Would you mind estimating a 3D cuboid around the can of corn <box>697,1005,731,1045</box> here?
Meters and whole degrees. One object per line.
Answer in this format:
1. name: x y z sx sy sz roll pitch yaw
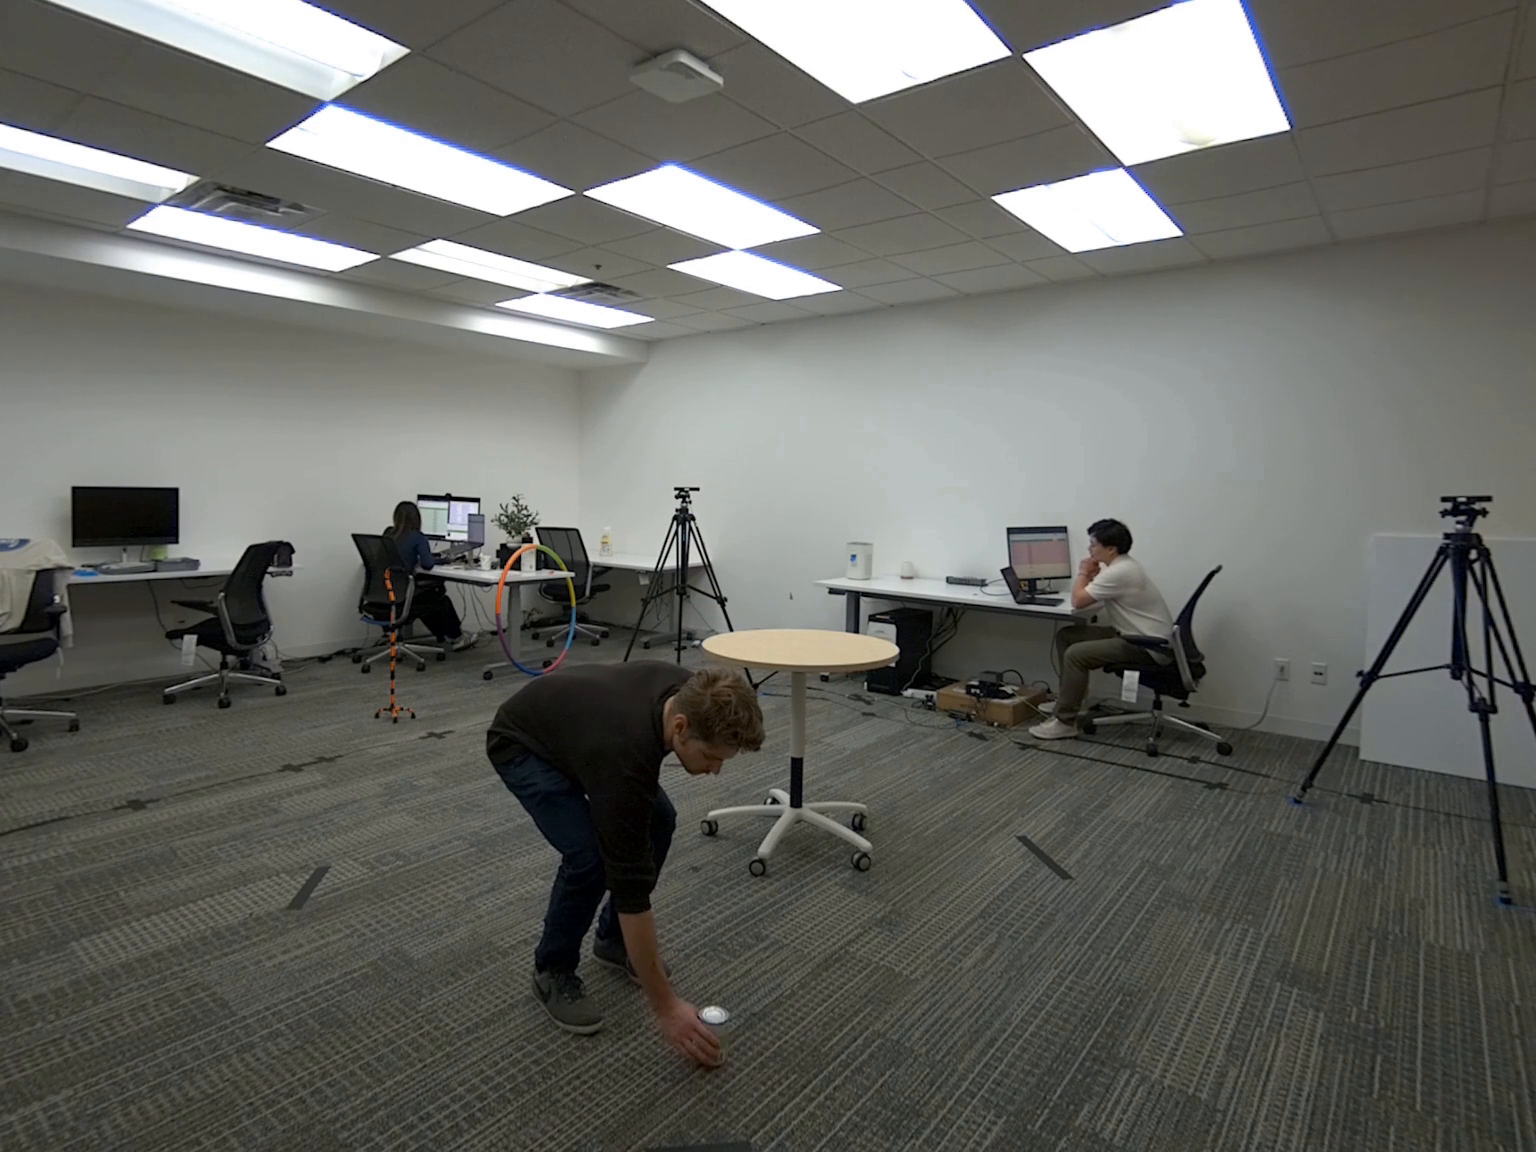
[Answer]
1. can of corn: -0.141 1.122 2.068 0.074 0.110 0.075 -2 7 -2
